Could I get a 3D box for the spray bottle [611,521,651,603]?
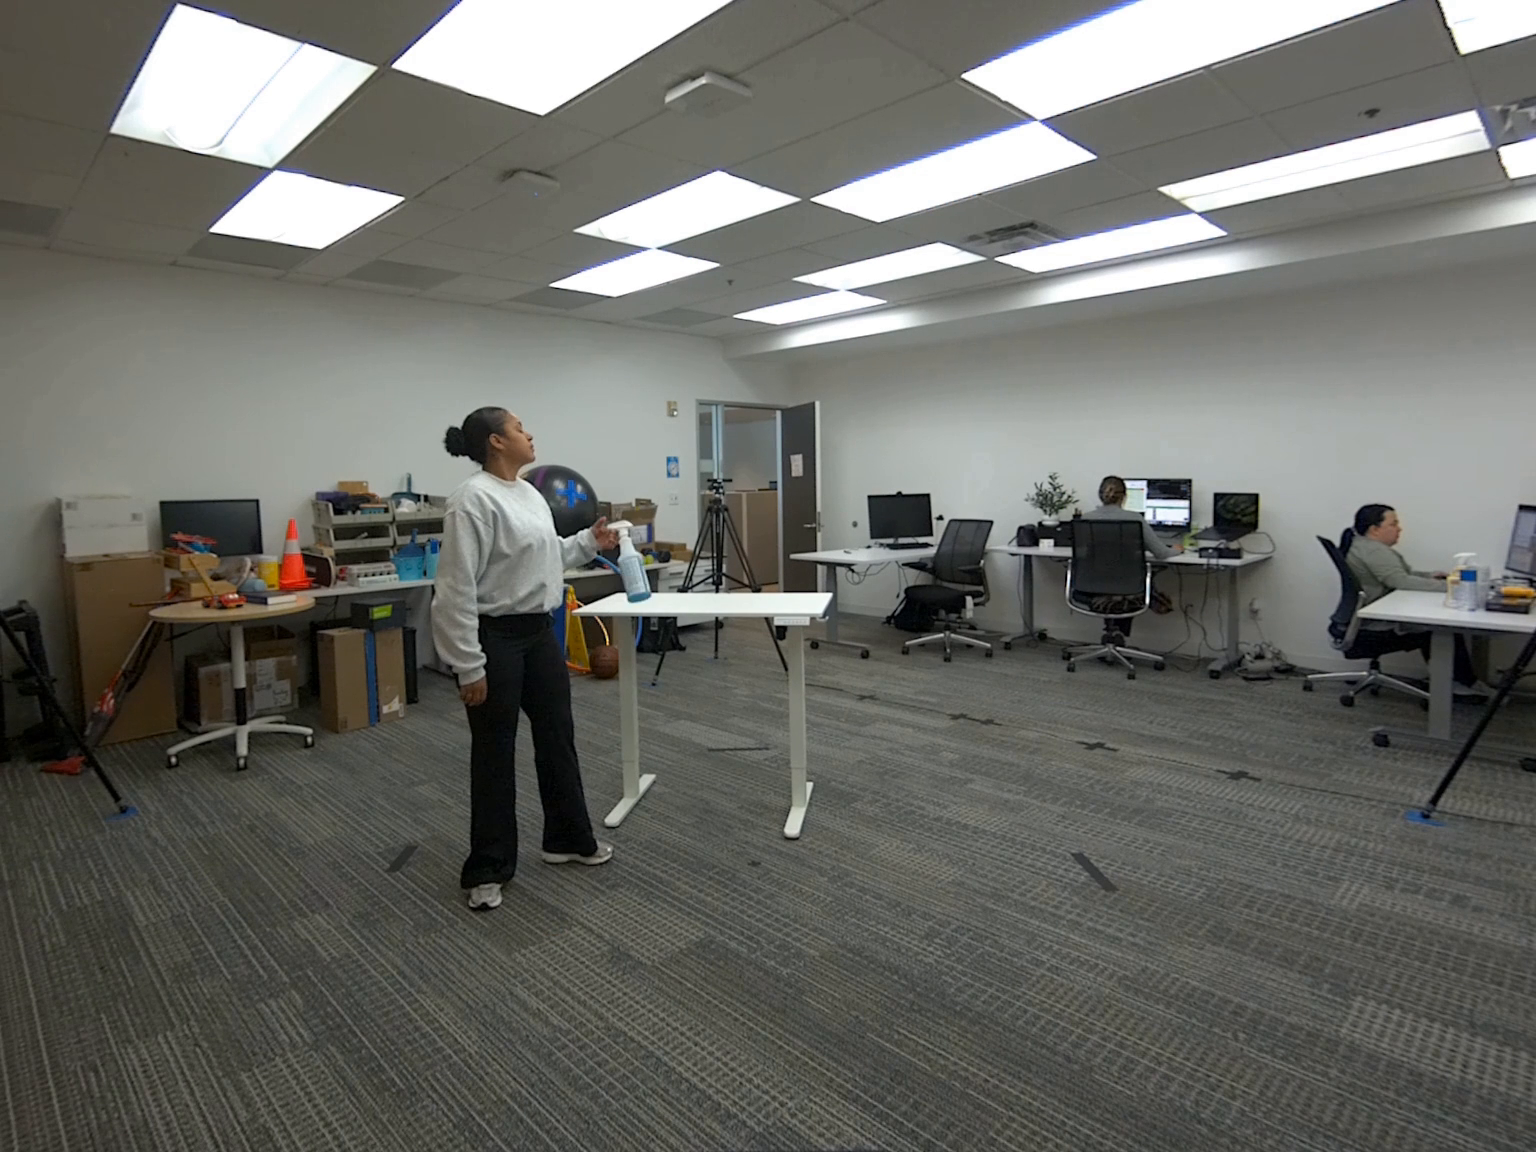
[{"bbox_3d":[-0.498,-0.038,3.038,0.091,0.303,0.084,-28,-18,34],"label":"spray bottle"}]
